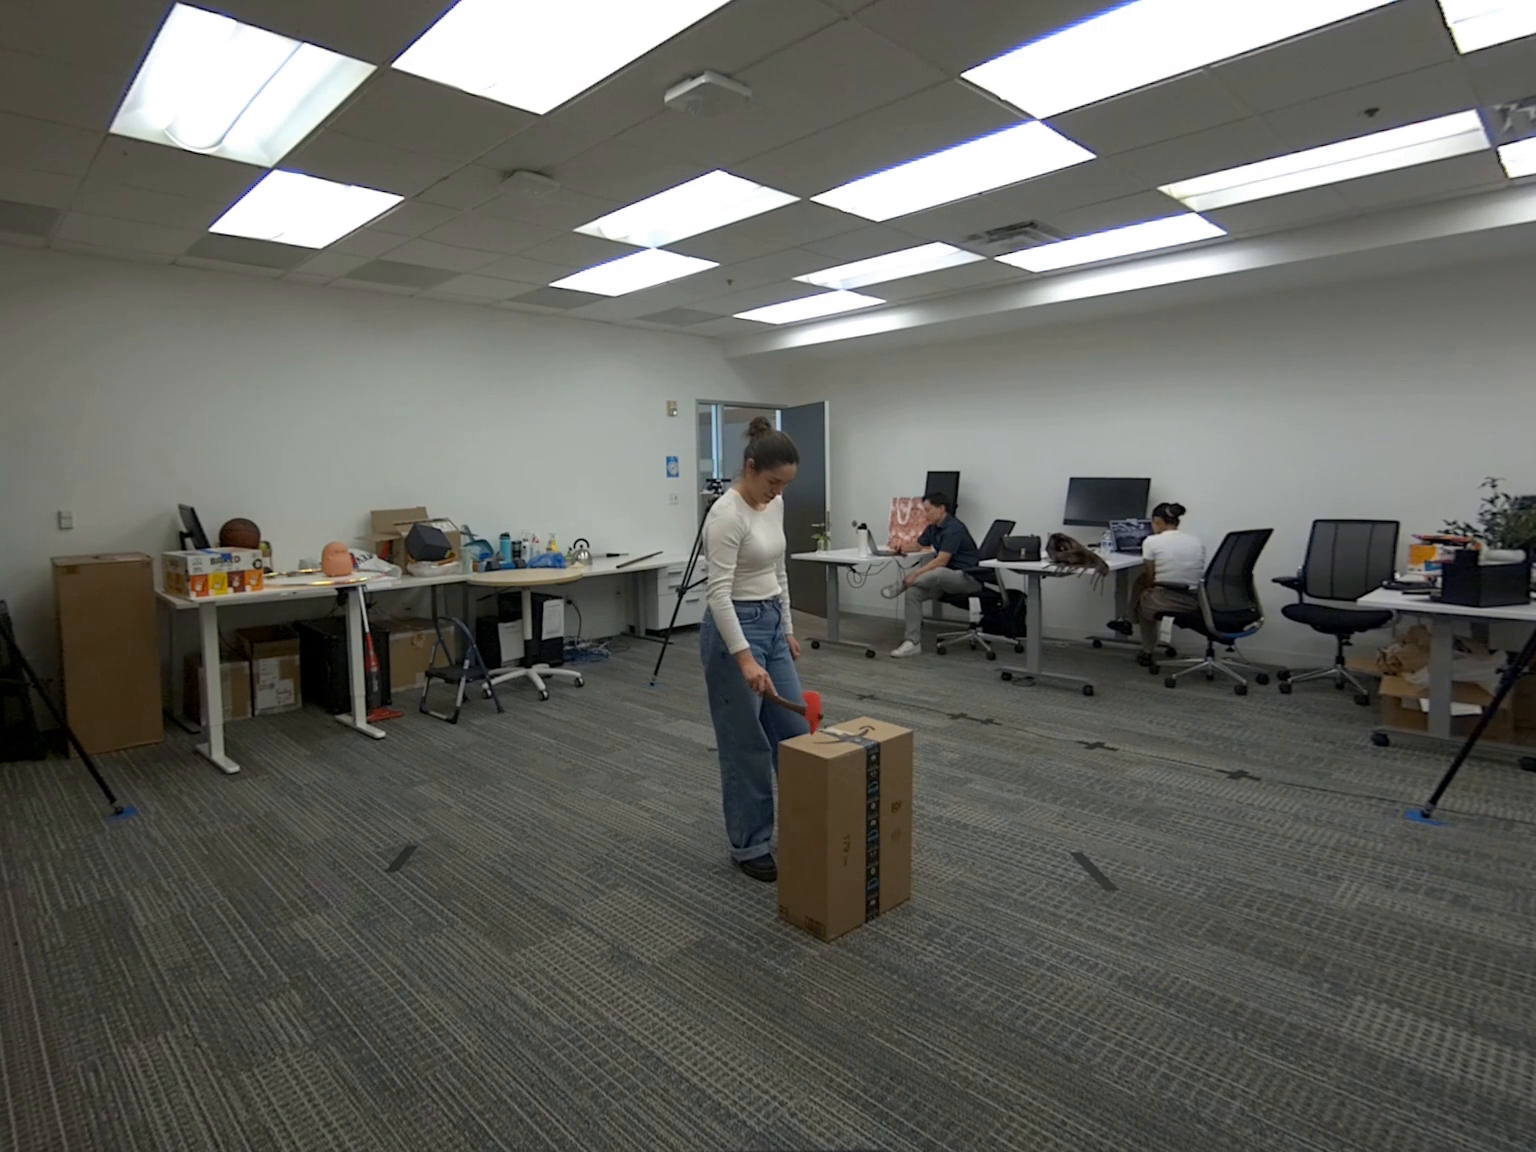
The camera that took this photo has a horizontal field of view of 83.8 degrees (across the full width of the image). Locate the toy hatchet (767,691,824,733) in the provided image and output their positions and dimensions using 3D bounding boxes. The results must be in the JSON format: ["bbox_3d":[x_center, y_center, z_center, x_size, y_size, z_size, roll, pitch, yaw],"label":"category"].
[{"bbox_3d":[0.062,0.375,2.673,0.280,0.130,0.029,38,27,31],"label":"toy hatchet"}]
